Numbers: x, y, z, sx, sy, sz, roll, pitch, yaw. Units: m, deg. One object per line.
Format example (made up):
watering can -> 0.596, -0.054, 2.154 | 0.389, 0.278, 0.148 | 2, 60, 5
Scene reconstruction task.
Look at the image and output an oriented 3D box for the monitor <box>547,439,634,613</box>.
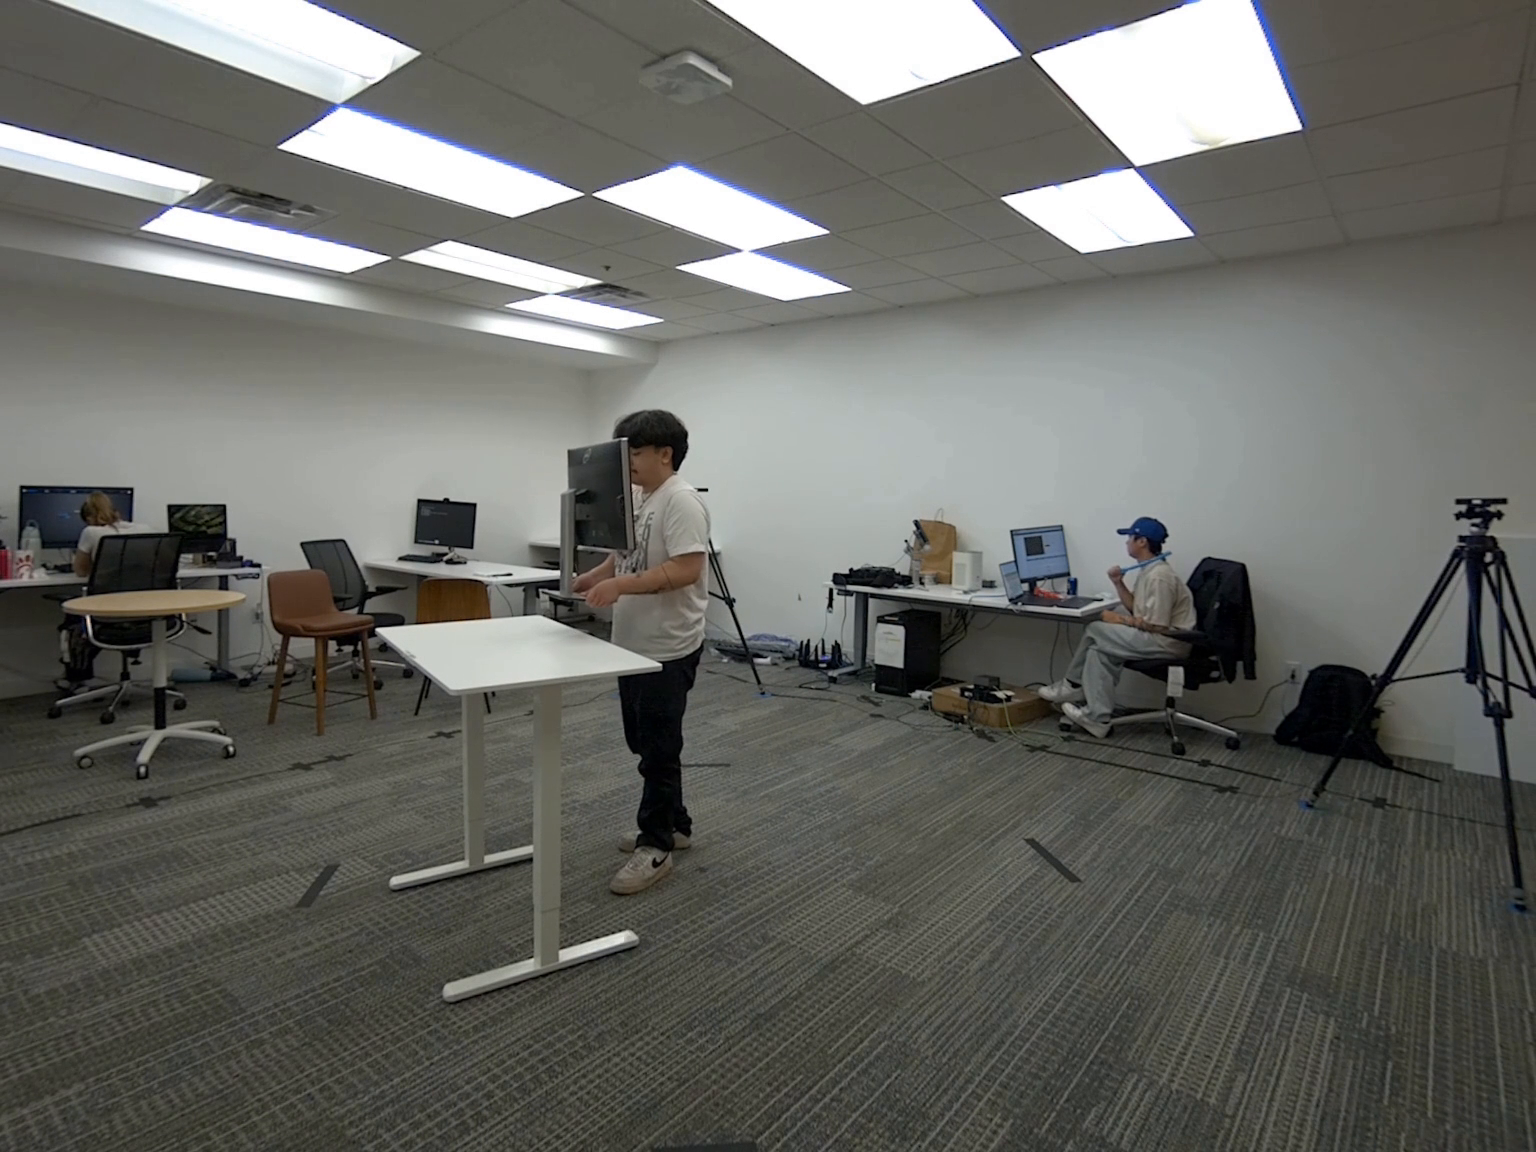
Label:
monitor -> -0.657, -0.191, 2.936 | 0.204, 0.553, 0.582 | 1, 3, -31
